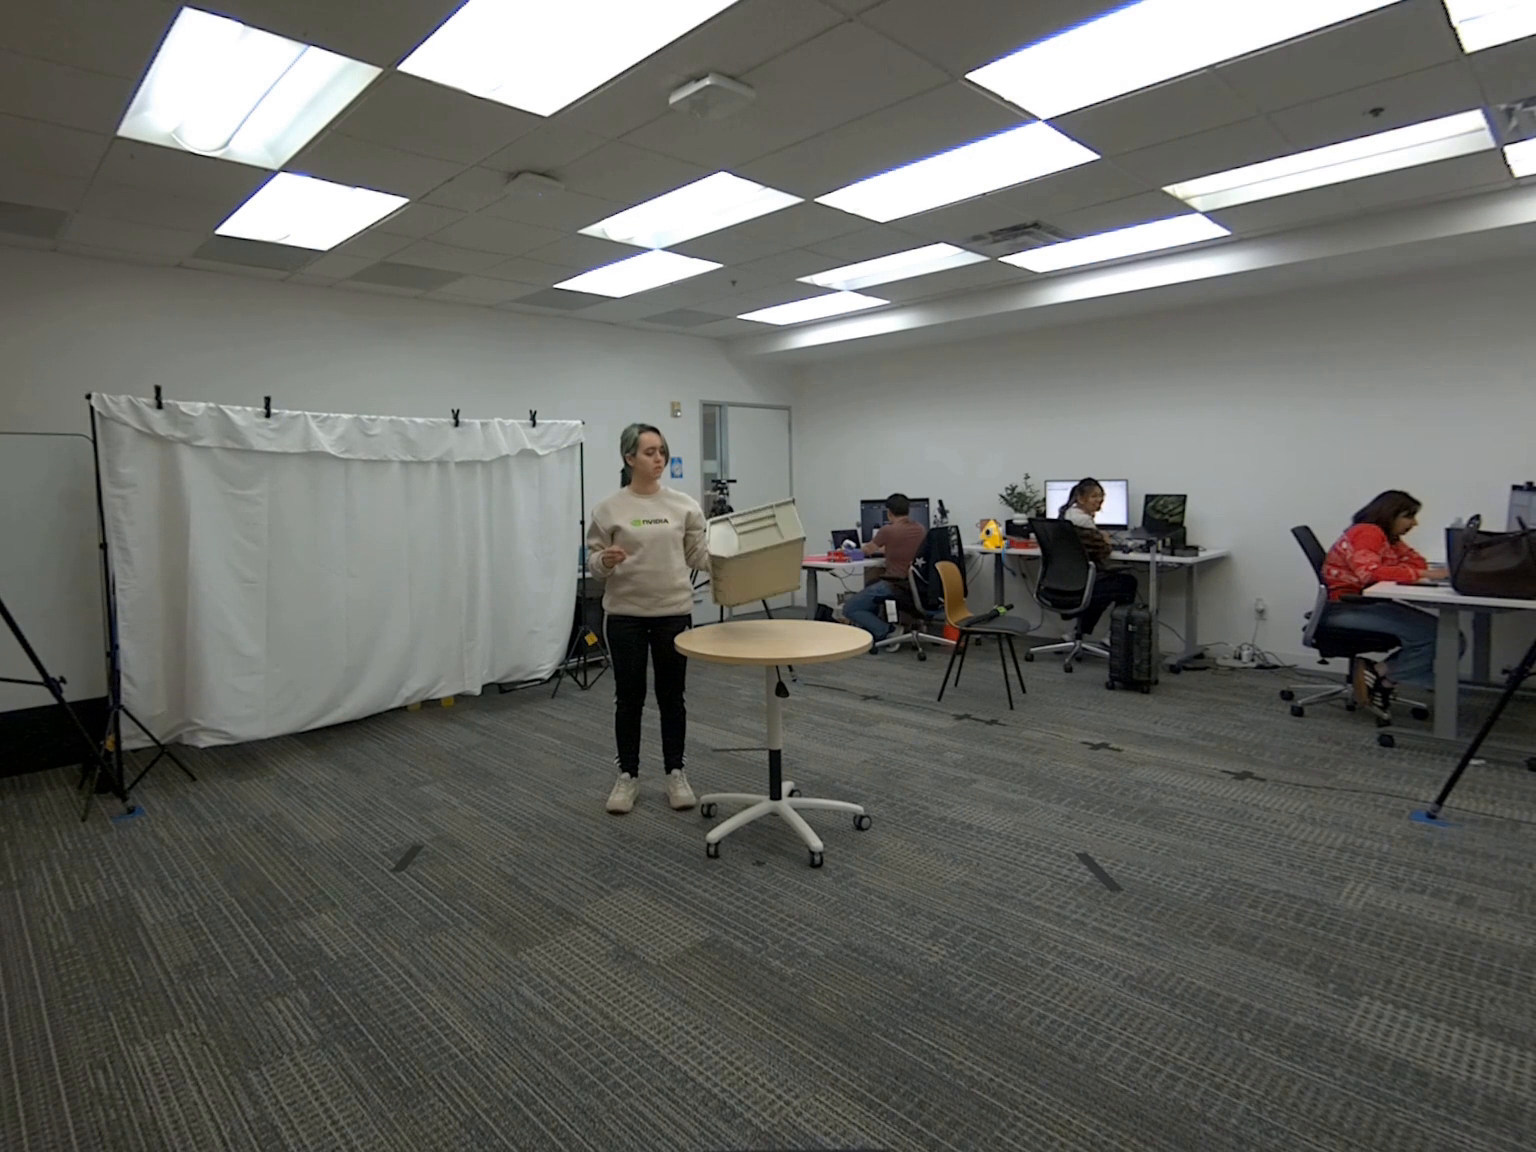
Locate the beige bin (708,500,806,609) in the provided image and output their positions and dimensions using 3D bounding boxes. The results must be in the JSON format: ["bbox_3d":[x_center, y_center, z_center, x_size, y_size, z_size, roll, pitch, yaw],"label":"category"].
[{"bbox_3d":[-0.054,-0.072,3.361,0.375,0.195,0.412,-14,-30,-8],"label":"beige bin"}]
